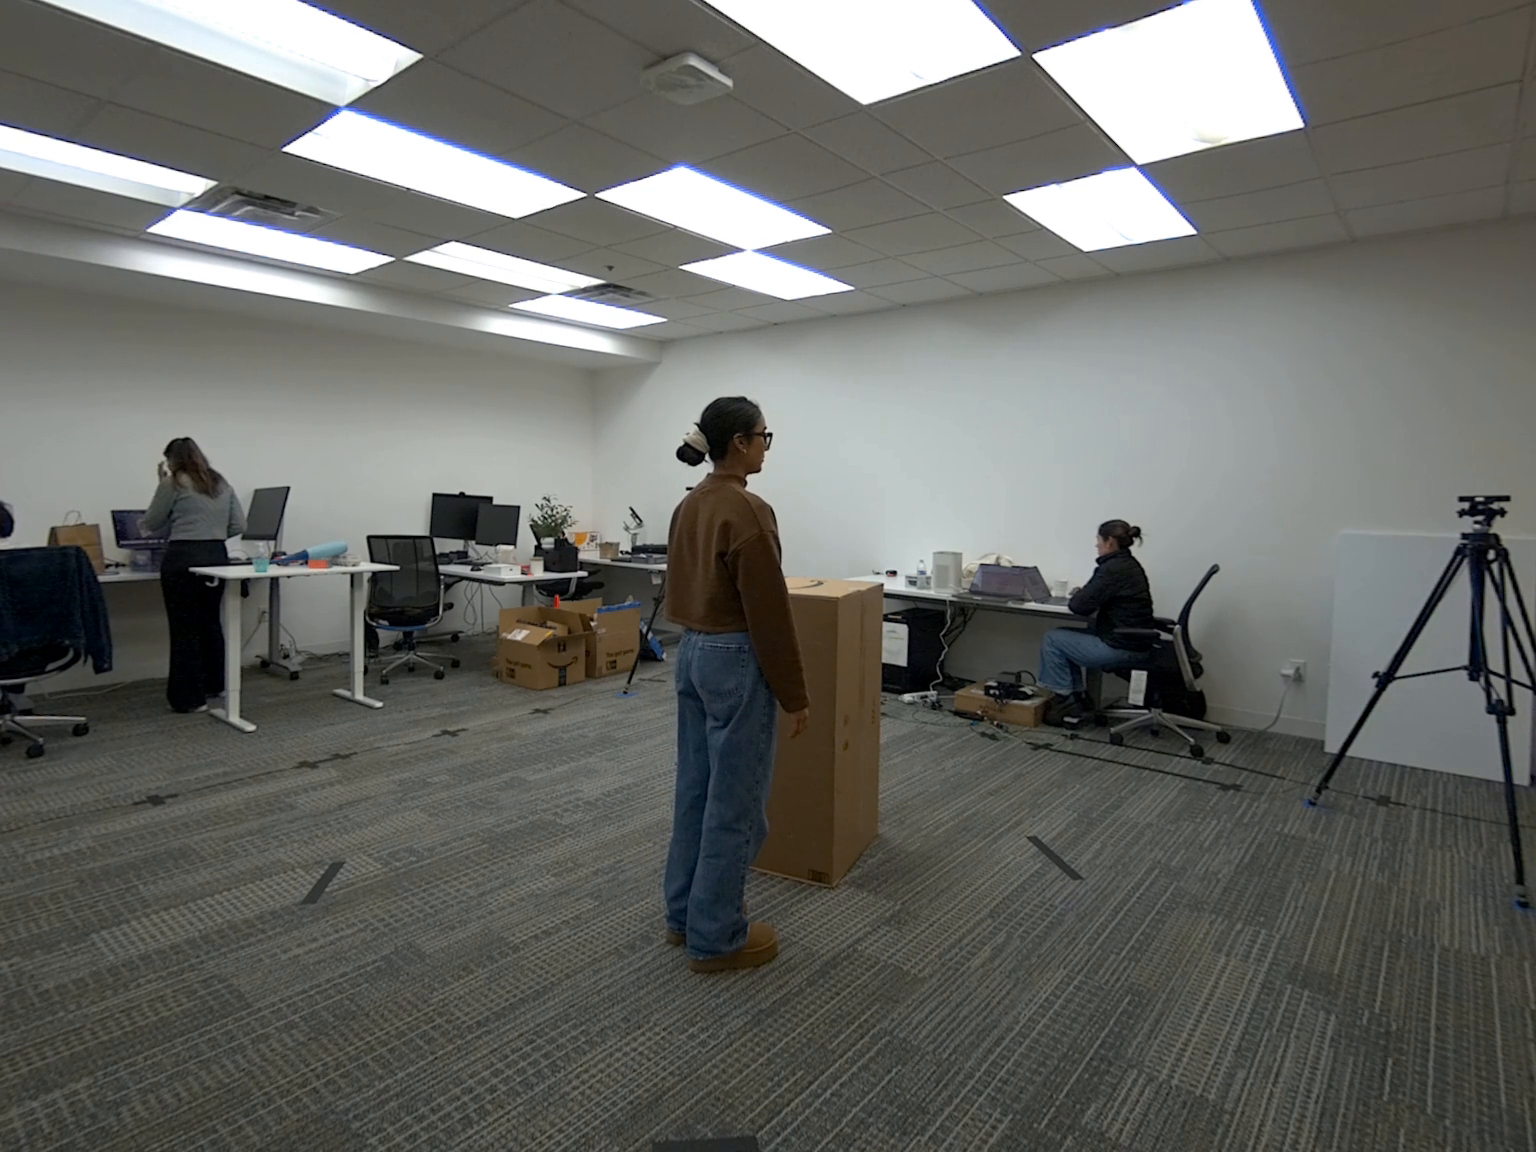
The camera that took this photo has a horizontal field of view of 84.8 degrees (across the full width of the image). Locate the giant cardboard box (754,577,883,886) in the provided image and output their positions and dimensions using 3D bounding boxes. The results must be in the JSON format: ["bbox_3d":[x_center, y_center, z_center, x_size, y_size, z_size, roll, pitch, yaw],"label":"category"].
[{"bbox_3d":[0.150,0.544,3.279,0.437,1.023,0.564,3,4,25],"label":"giant cardboard box"}]
